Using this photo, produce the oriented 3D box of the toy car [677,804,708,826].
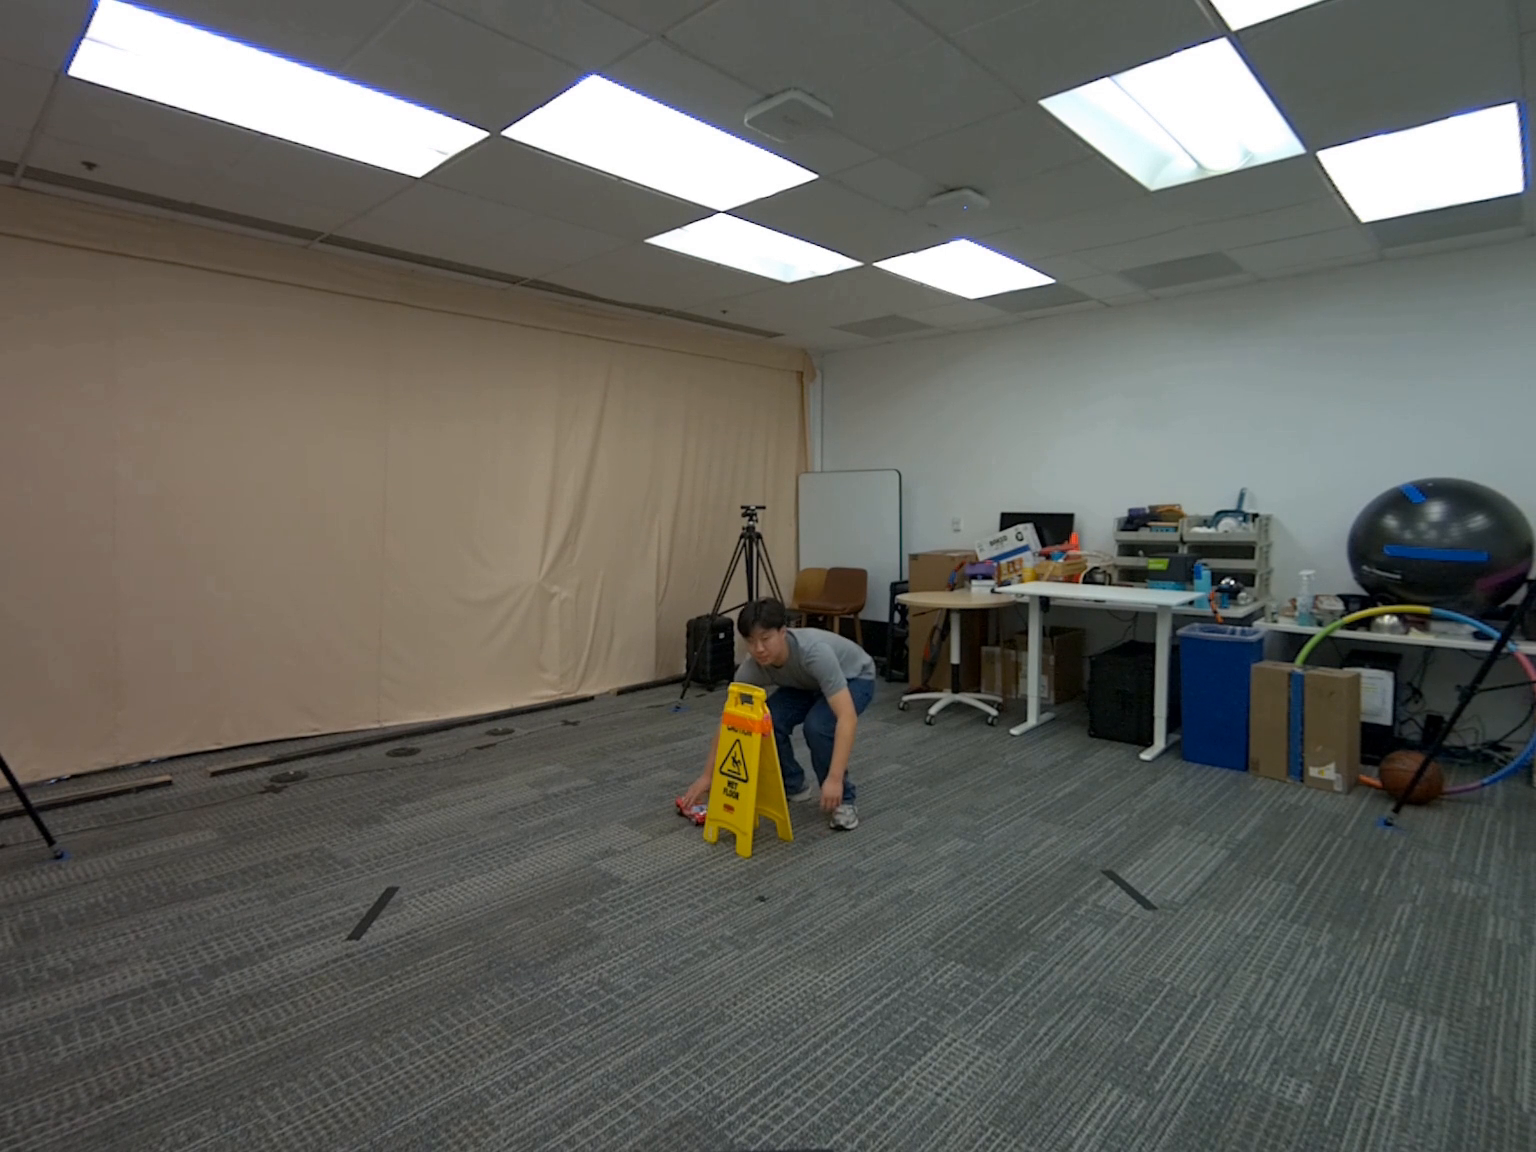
[{"bbox_3d":[-0.318,1.052,3.793,0.127,0.082,0.263,-2,16,-31],"label":"toy car"}]
